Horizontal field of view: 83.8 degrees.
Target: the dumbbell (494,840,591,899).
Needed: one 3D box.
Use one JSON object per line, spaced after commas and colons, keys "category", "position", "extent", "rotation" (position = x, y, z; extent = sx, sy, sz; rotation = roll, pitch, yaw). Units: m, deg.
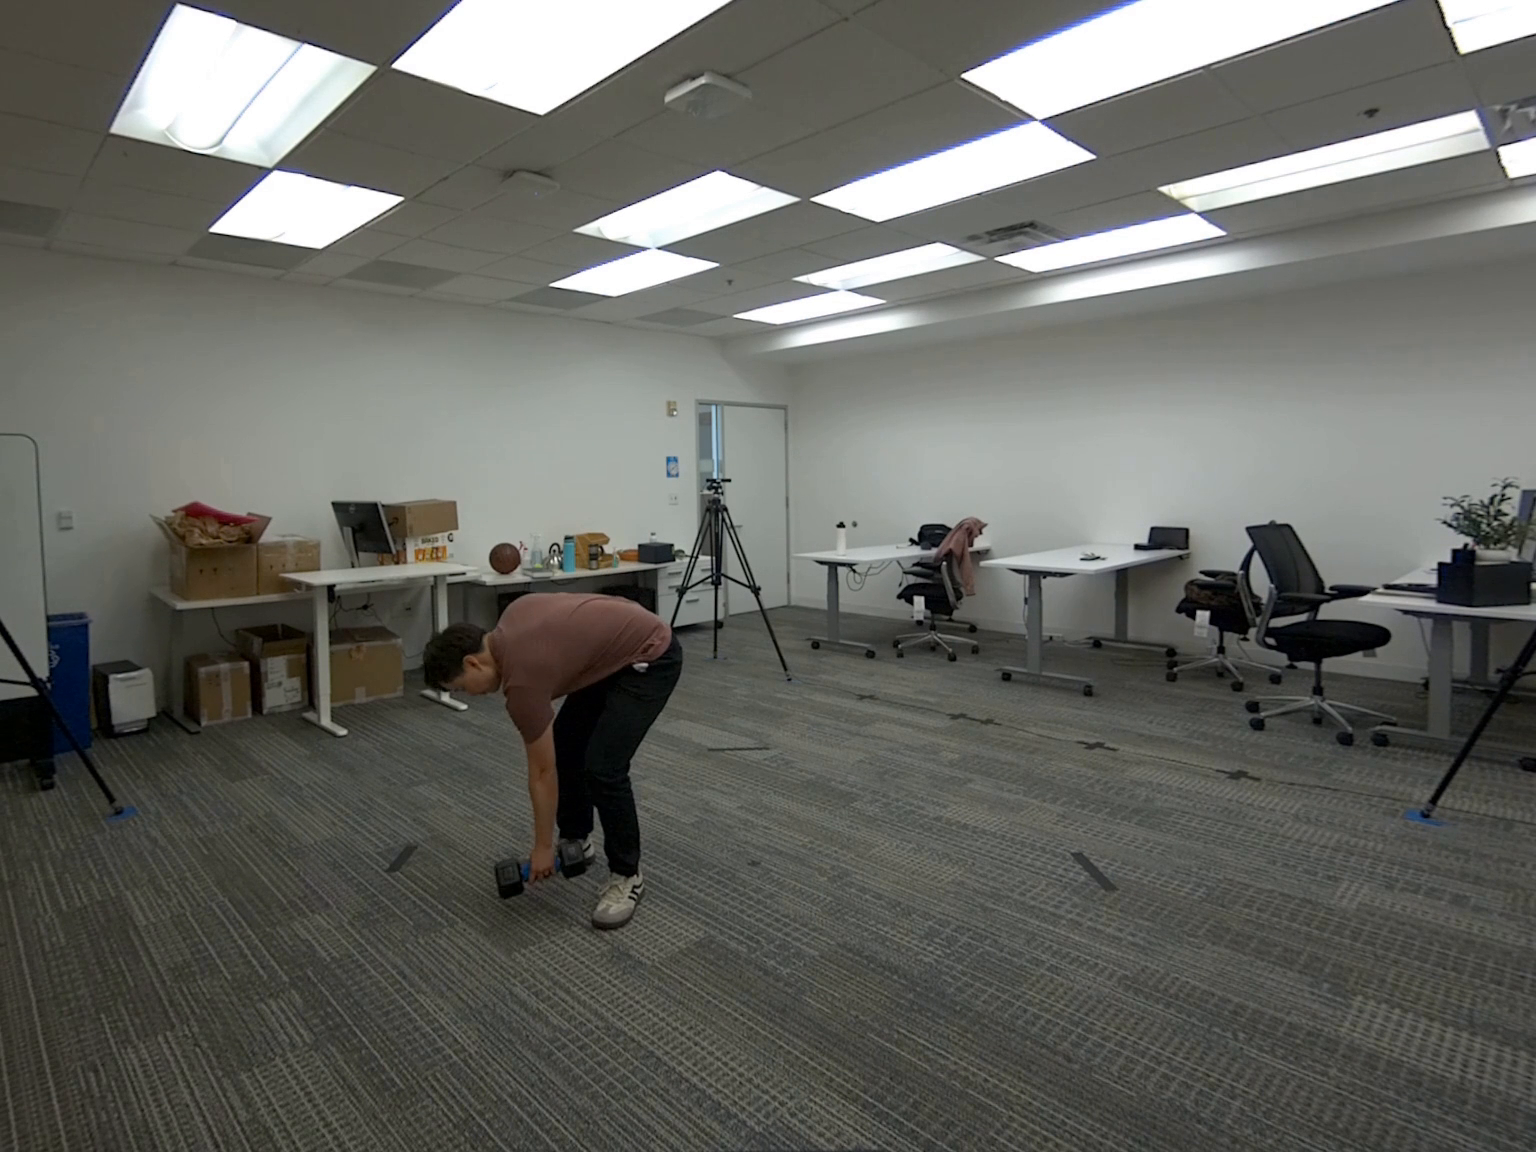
{"category": "dumbbell", "position": [-0.755, 0.965, 2.847], "extent": [0.289, 0.127, 0.107], "rotation": [-11, -31, -20]}
